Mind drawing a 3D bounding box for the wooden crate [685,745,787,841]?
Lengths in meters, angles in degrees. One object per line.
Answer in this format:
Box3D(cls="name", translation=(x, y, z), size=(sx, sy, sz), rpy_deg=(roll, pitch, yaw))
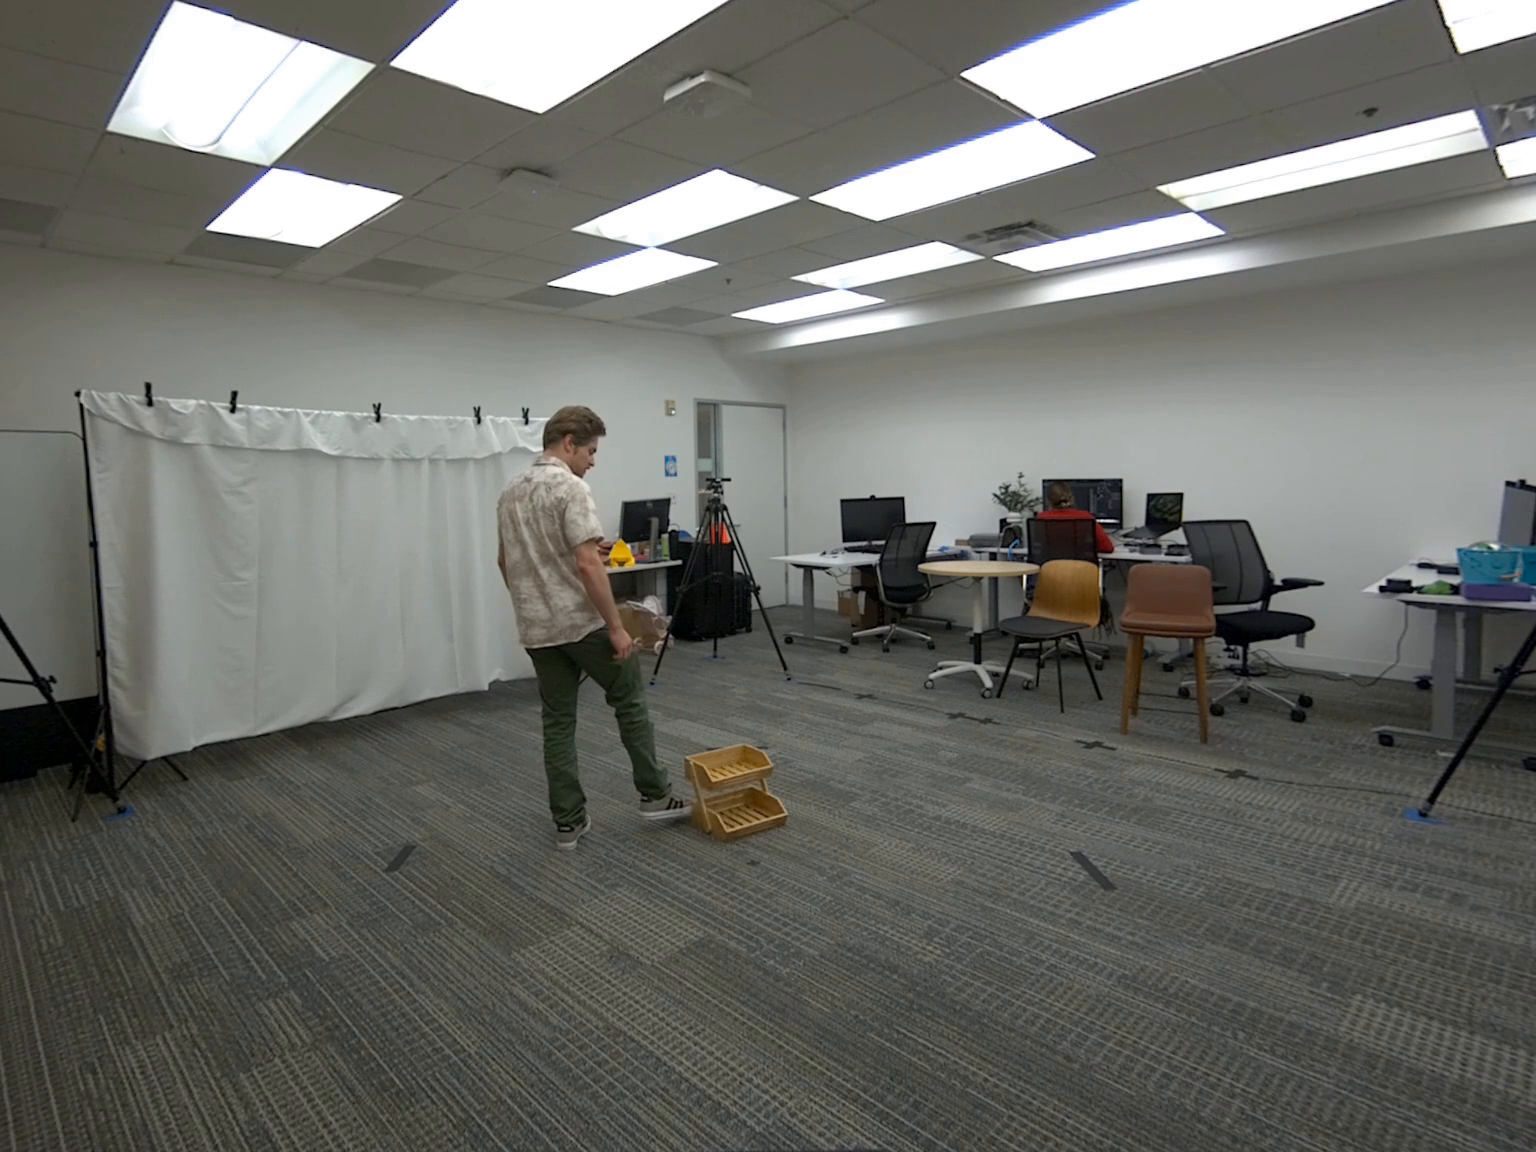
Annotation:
Box3D(cls="wooden crate", translation=(-0.130, 0.865, 3.467), size=(0.316, 0.272, 0.311), rpy_deg=(-5, 6, -36))
